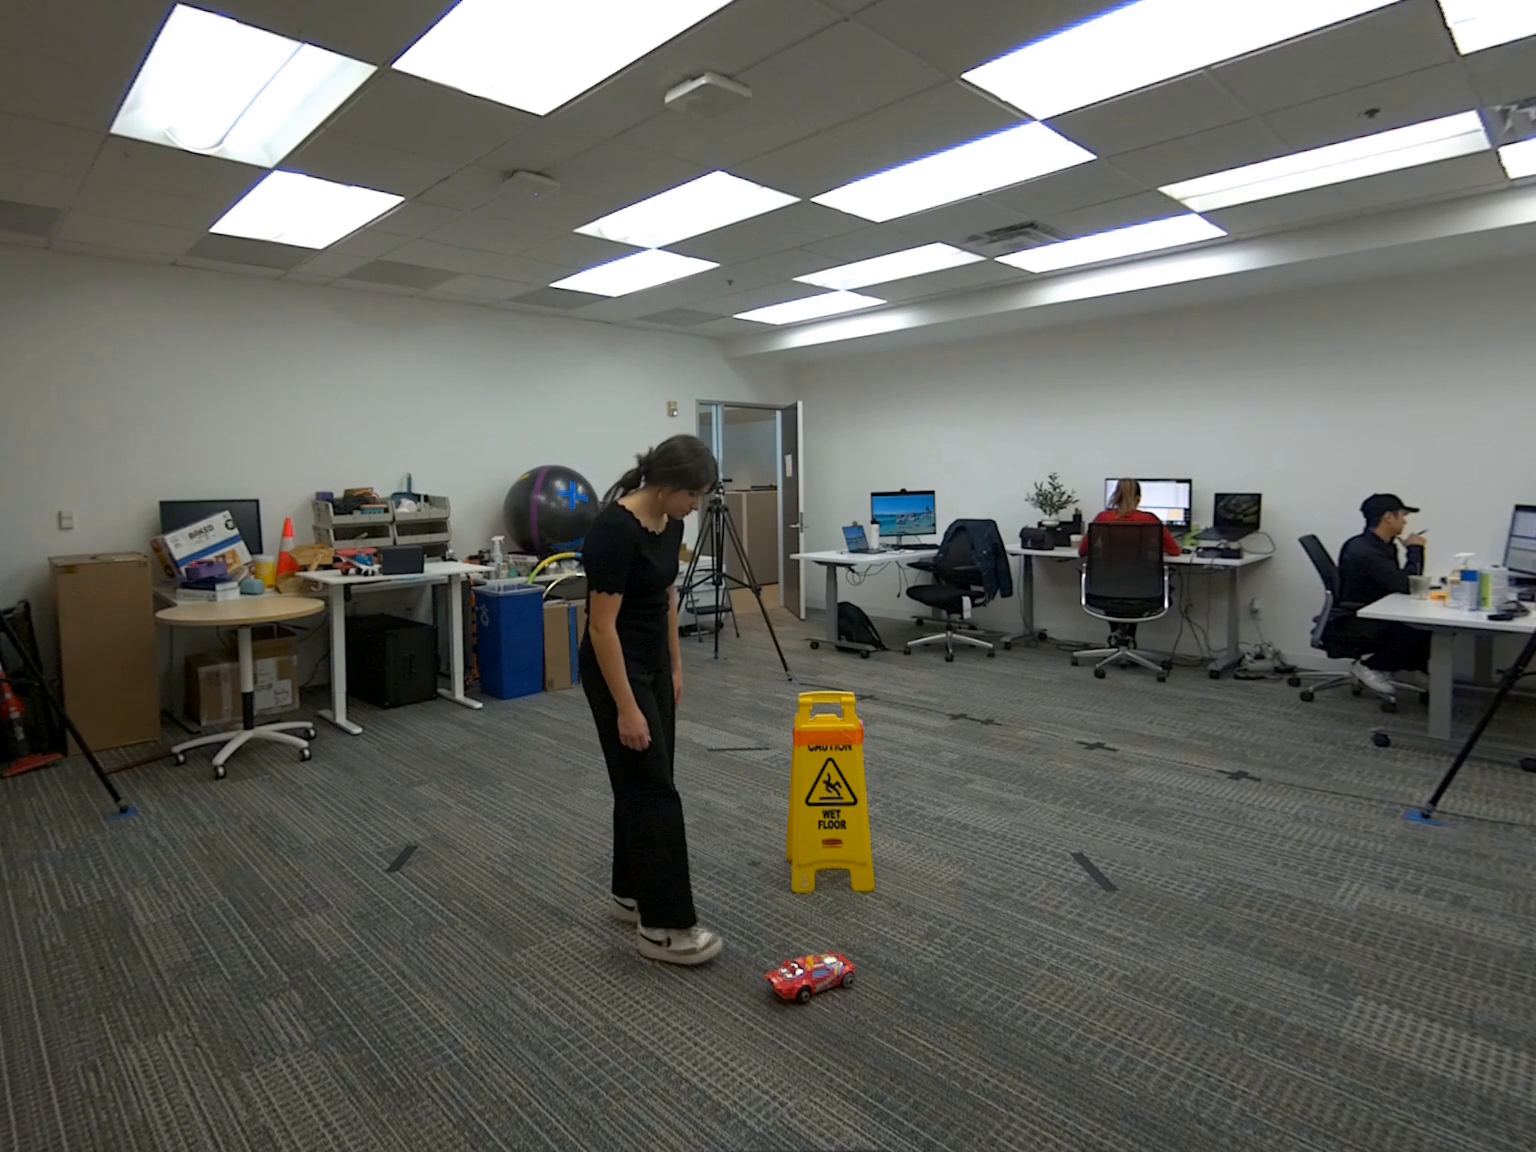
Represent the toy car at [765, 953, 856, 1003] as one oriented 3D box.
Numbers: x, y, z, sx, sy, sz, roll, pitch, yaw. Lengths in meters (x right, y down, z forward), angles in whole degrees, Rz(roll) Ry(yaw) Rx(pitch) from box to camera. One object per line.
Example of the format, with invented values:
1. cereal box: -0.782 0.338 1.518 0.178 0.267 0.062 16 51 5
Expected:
1. toy car: 0.116 1.098 2.337 0.248 0.083 0.133 9 0 -26
